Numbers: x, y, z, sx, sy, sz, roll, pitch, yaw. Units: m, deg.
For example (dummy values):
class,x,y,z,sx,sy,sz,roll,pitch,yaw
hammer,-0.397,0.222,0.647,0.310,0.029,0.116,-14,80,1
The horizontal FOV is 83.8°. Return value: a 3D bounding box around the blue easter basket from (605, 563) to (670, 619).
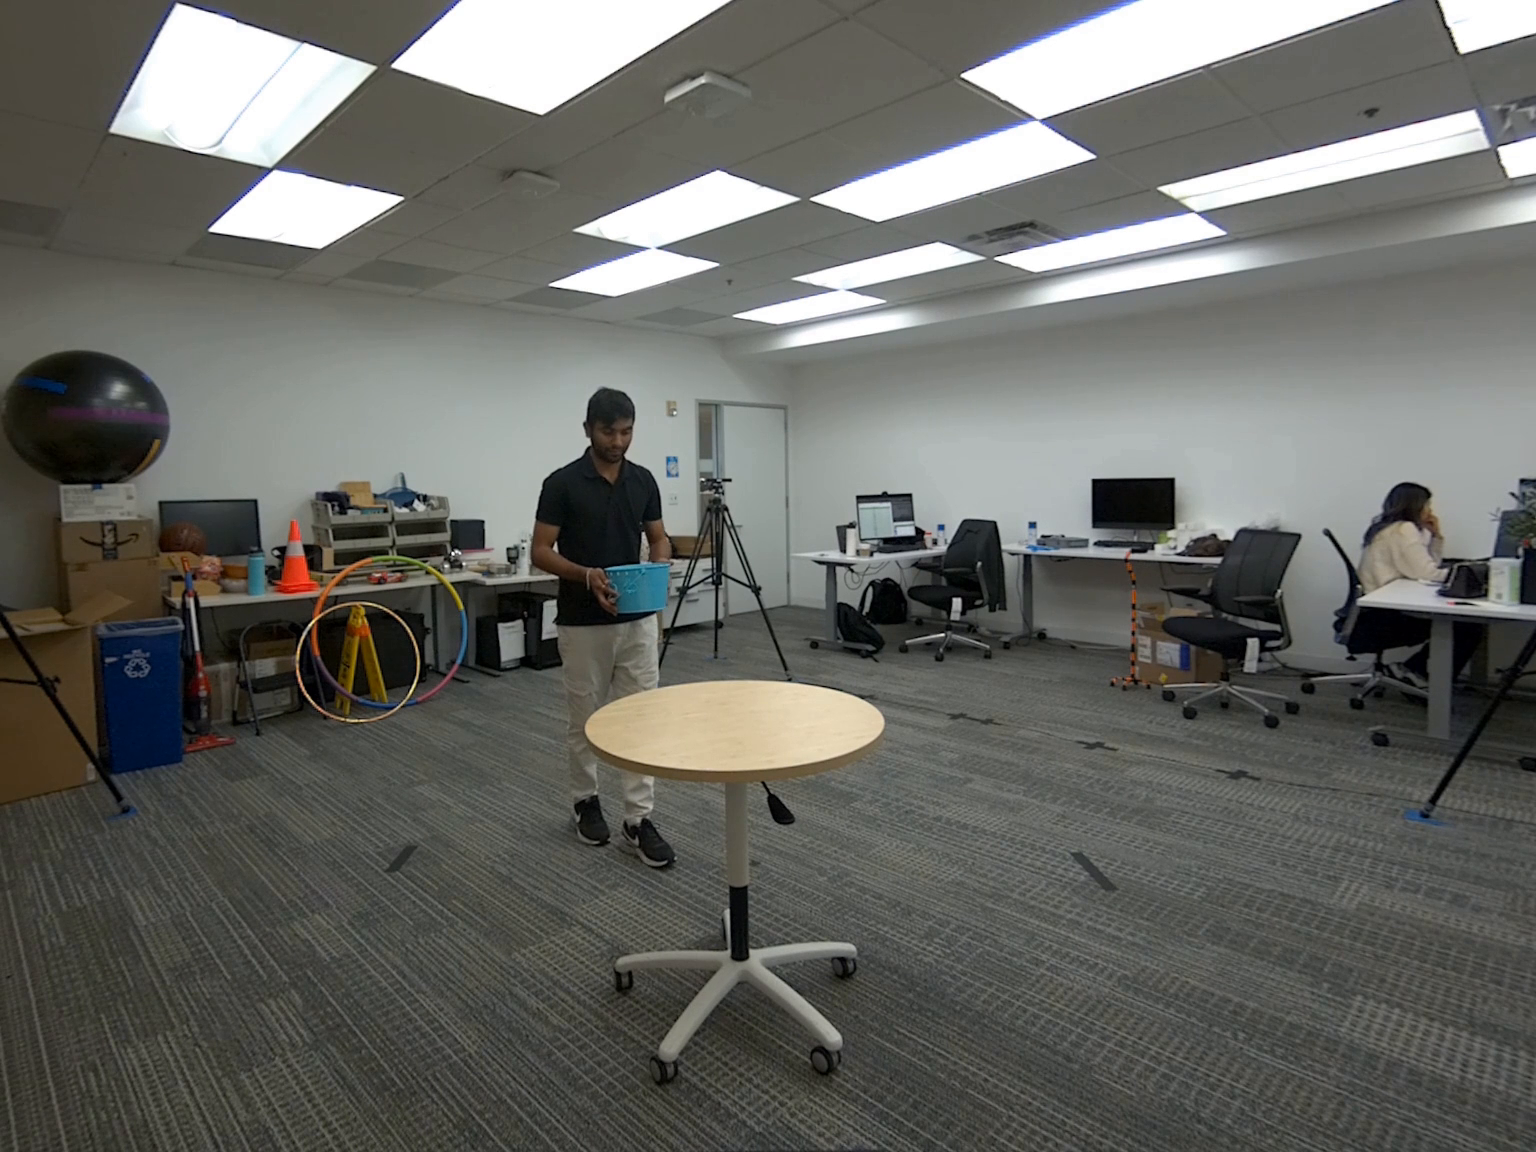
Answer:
class,x,y,z,sx,sy,sz,roll,pitch,yaw
blue easter basket,-0.476,0.044,2.998,0.243,0.155,0.244,-3,3,-2
